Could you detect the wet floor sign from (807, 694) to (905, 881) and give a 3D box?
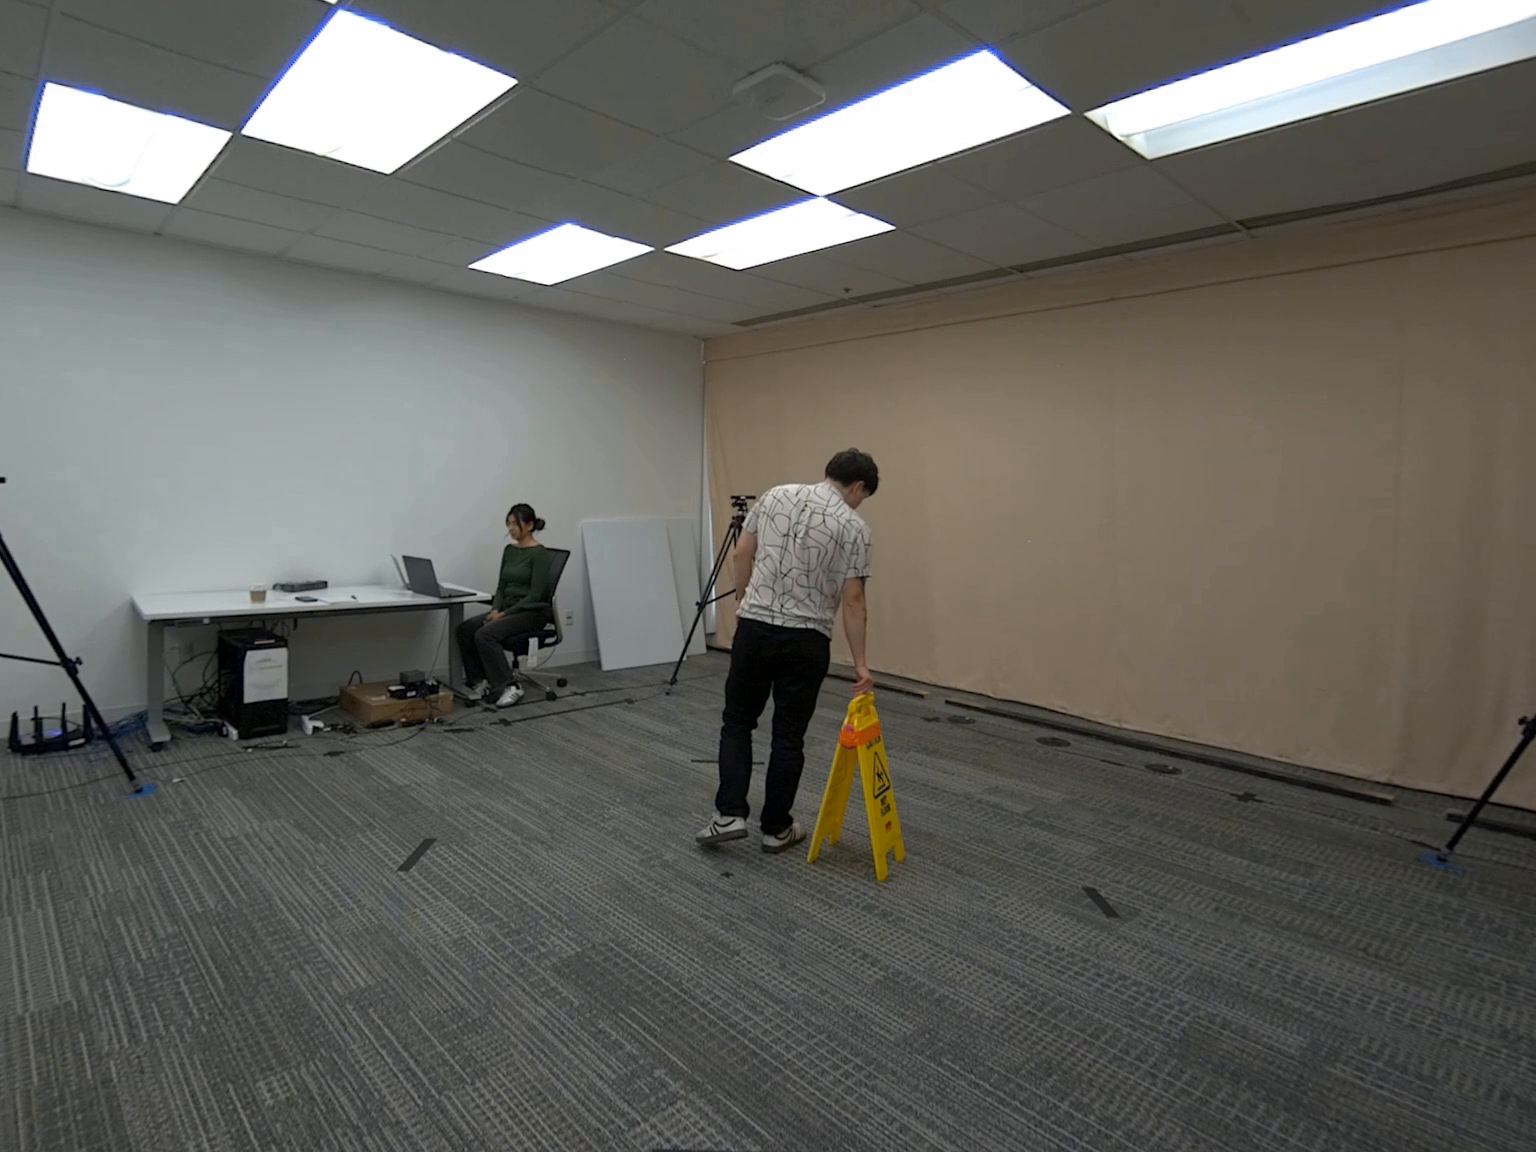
[{"bbox_3d":[0.340,0.775,3.243,0.296,0.645,0.276,2,2,29],"label":"wet floor sign"}]
